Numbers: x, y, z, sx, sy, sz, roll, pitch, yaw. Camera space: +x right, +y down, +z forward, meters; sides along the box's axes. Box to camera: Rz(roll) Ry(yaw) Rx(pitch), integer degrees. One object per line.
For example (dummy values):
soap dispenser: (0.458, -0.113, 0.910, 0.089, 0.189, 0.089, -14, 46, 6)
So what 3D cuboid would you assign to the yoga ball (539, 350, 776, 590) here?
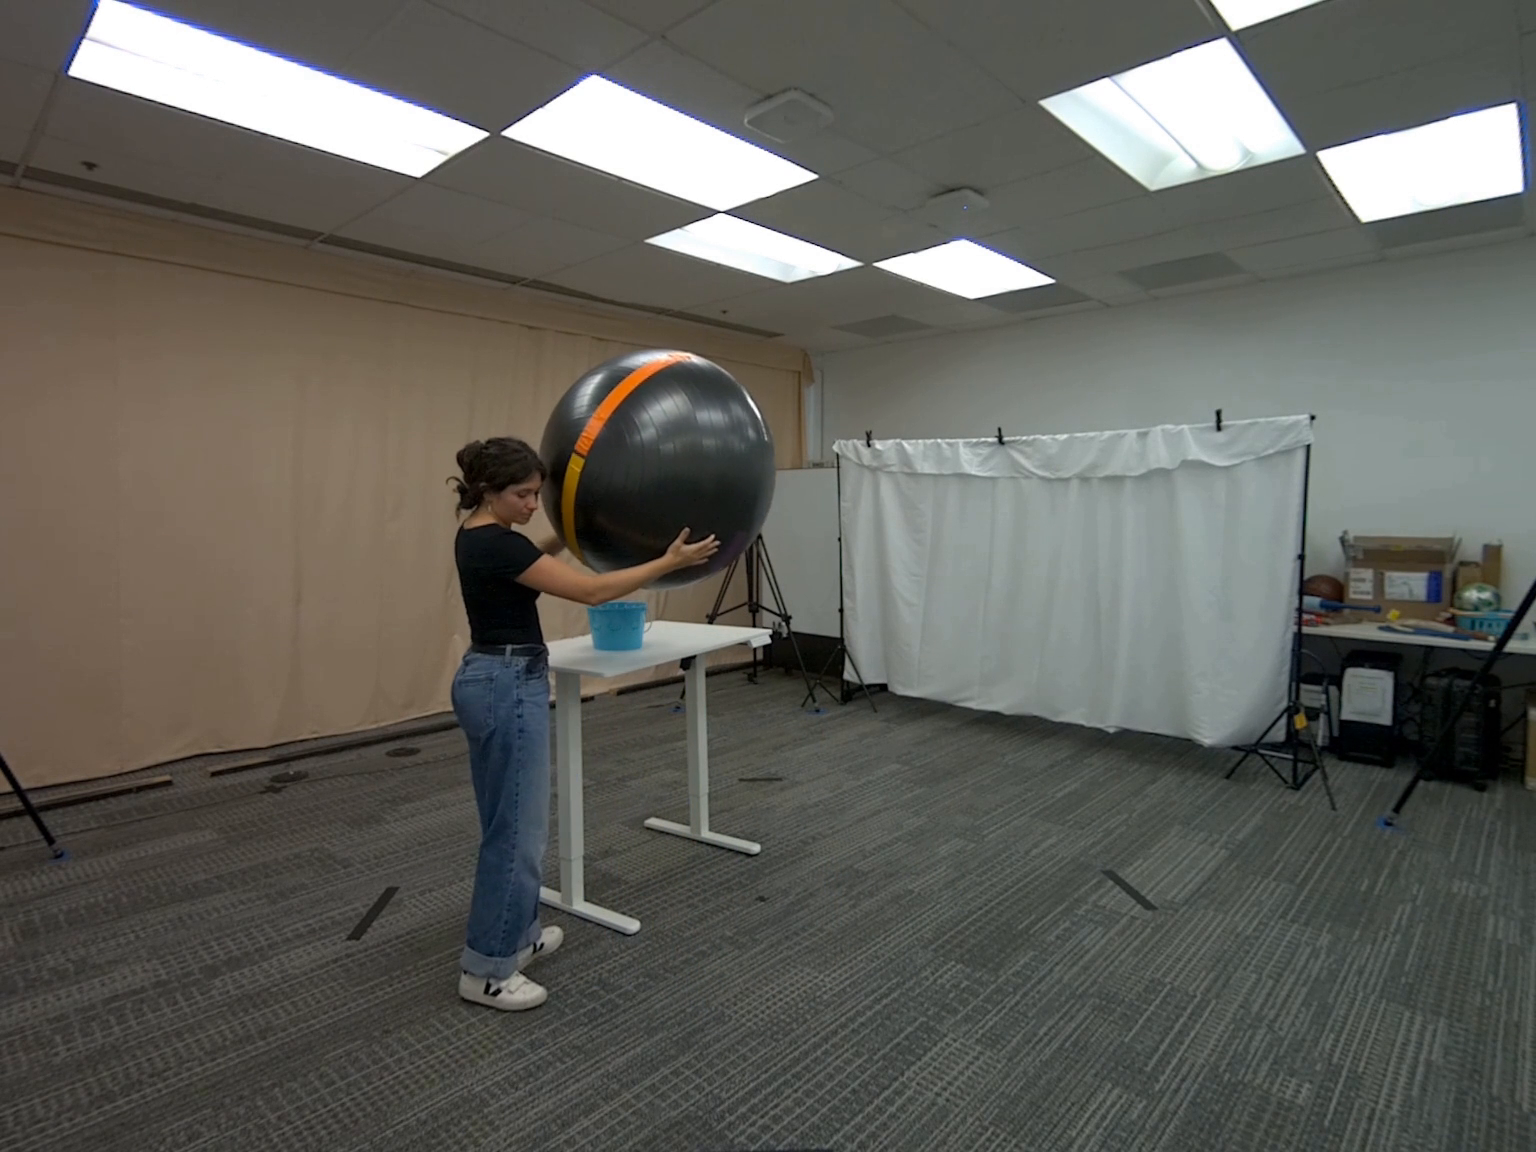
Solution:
yoga ball: (-0.353, -0.325, 2.692, 0.757, 0.756, 0.760, 0, 4, -2)
